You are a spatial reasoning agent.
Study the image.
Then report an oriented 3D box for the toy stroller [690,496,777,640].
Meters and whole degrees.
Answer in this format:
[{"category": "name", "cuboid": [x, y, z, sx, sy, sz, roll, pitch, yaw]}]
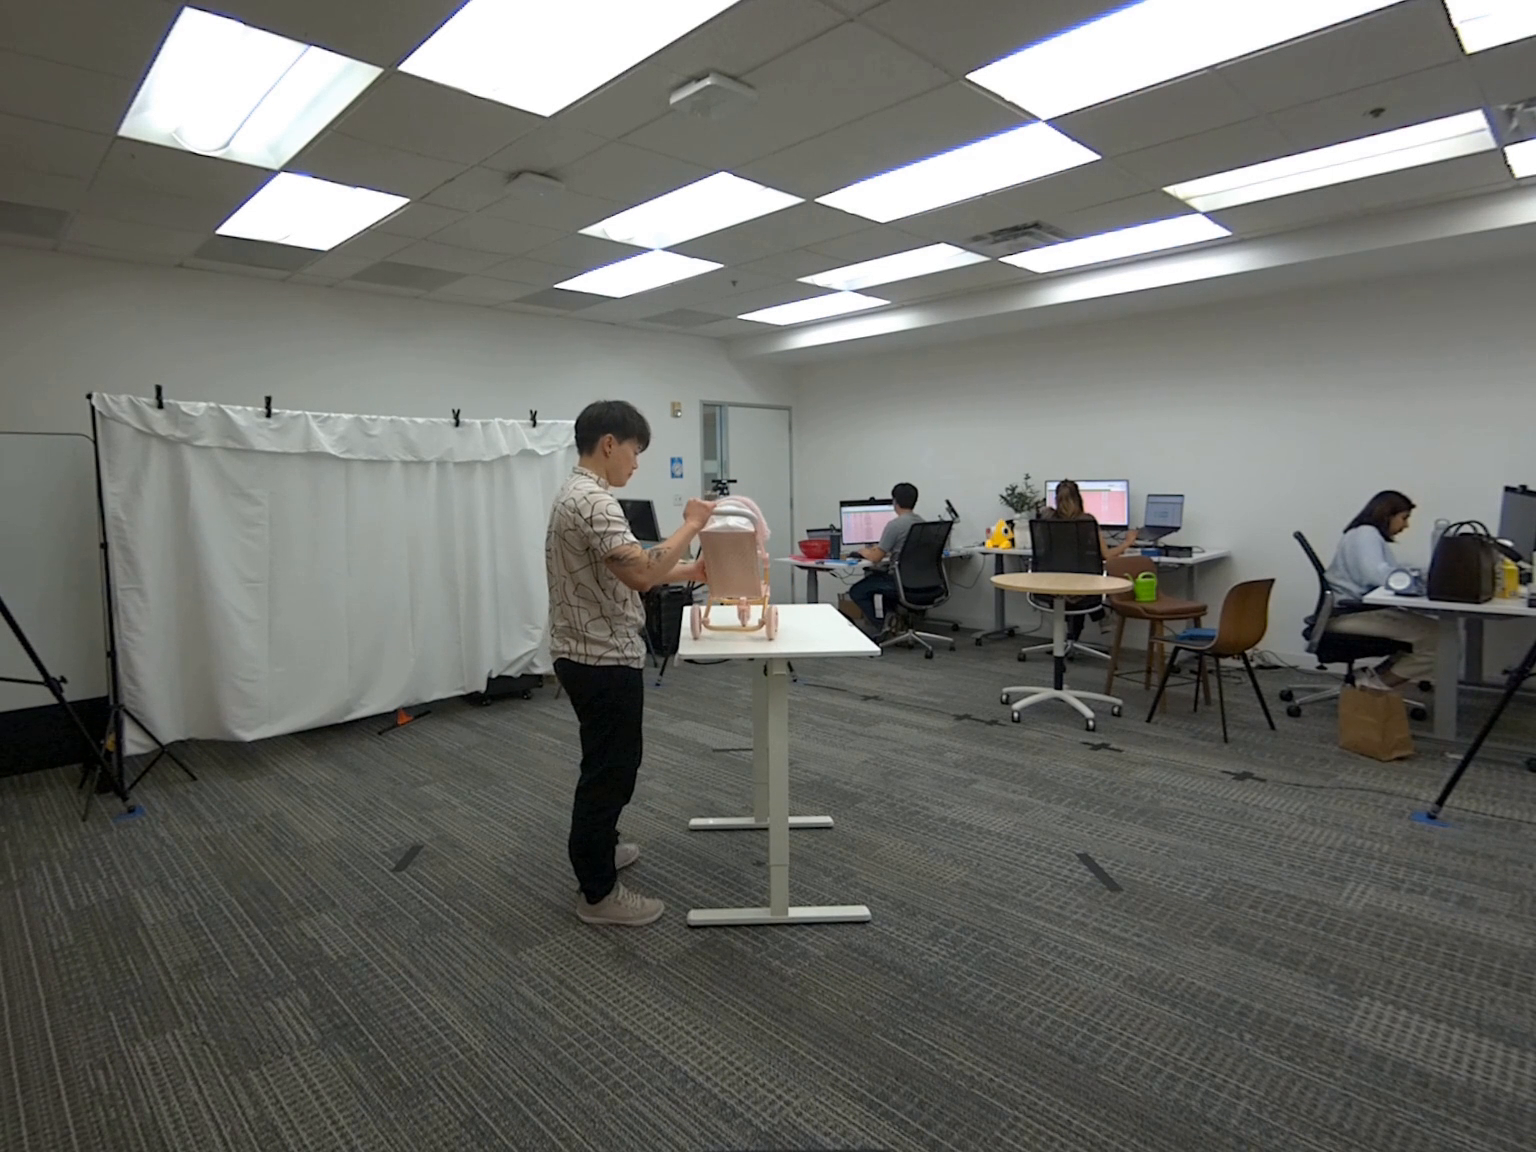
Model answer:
[{"category": "toy stroller", "cuboid": [-0.106, -0.025, 2.812, 0.285, 0.526, 0.343, 1, 19, 12]}]
